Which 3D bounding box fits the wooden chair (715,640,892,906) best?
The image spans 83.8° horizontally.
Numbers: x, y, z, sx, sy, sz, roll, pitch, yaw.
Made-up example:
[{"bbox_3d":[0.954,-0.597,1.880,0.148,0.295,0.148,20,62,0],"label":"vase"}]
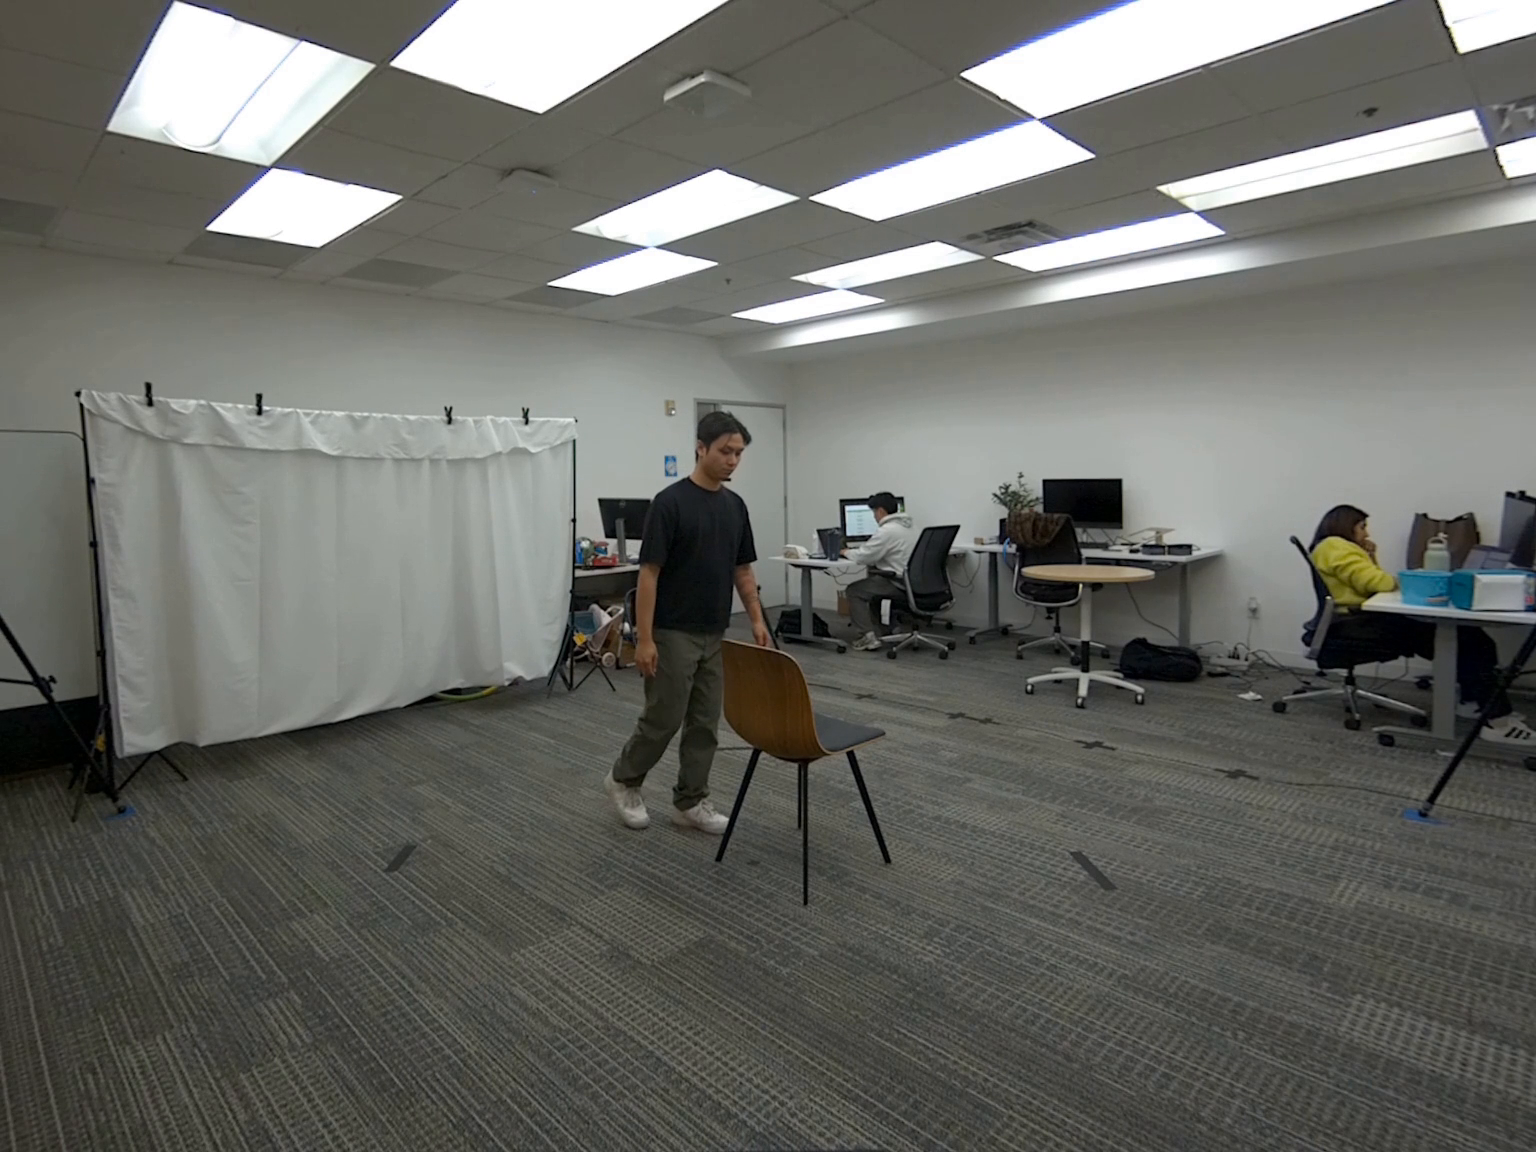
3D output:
[{"bbox_3d":[0.128,0.615,3.070,0.511,0.872,0.493,-10,9,-42],"label":"wooden chair"}]
